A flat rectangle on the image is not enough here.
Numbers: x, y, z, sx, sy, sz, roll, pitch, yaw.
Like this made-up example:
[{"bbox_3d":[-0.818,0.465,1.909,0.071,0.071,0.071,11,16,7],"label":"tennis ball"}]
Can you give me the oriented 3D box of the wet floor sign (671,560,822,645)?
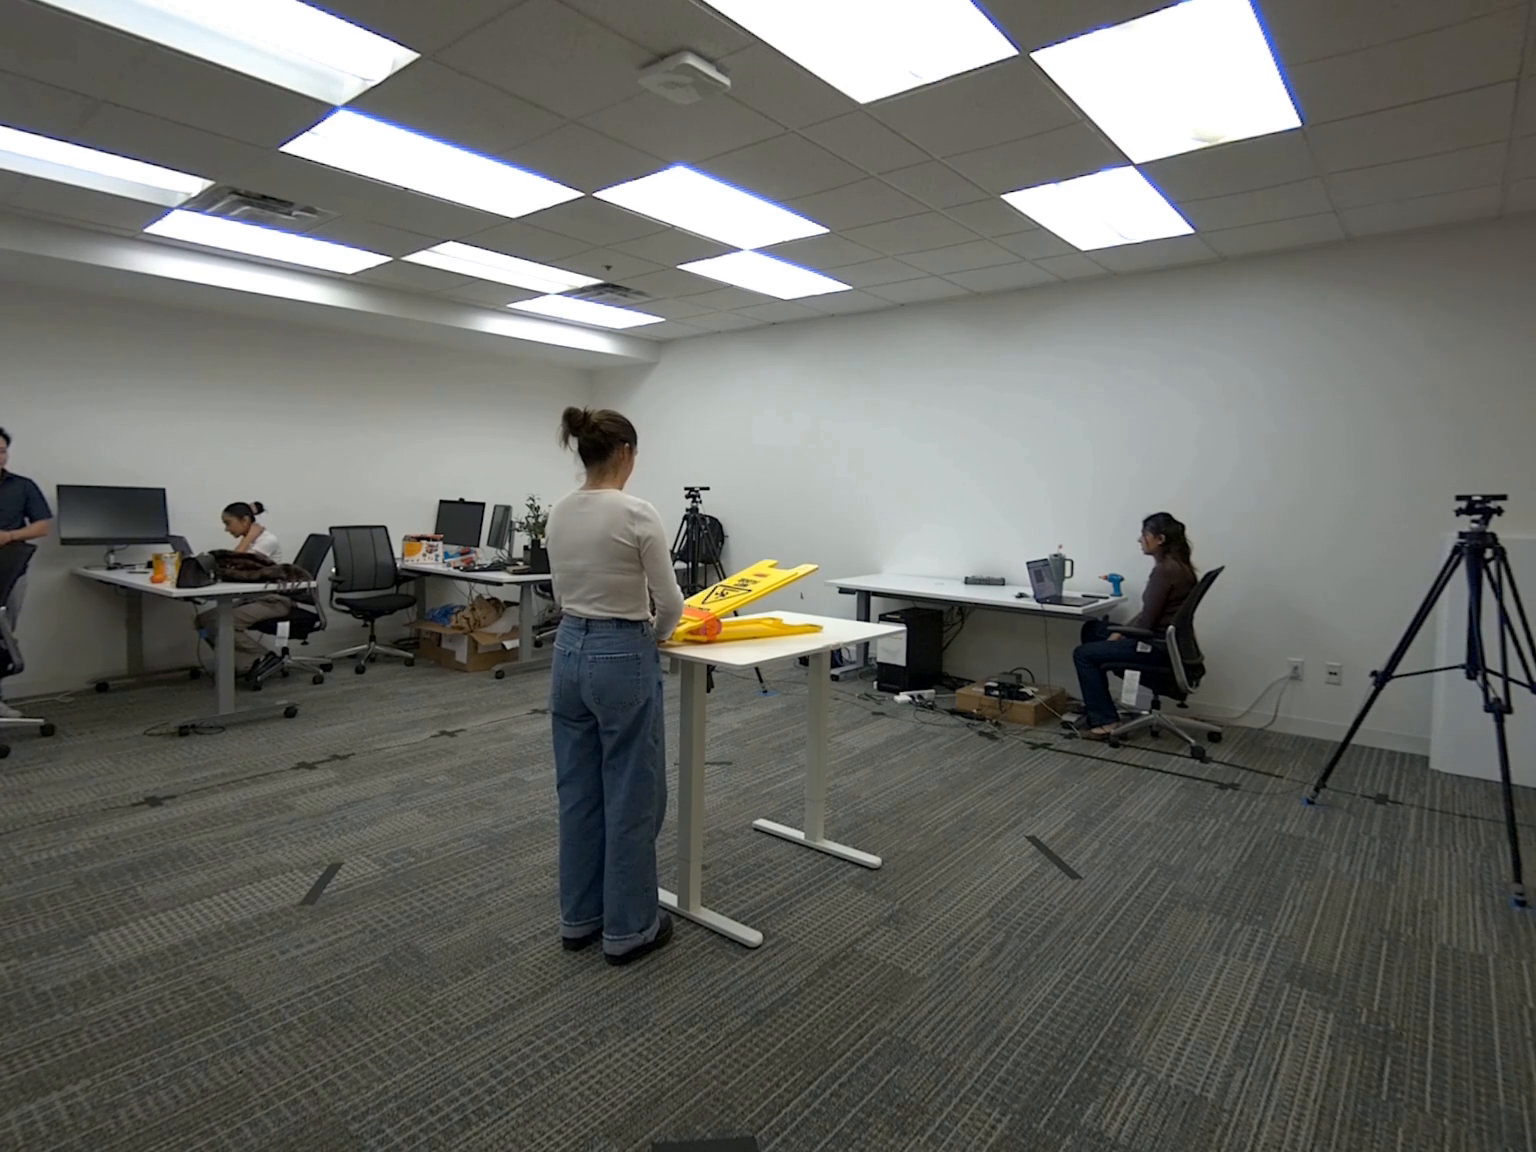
[{"bbox_3d":[-0.148,0.133,2.942,0.630,0.287,0.292,-13,13,-41],"label":"wet floor sign"}]
